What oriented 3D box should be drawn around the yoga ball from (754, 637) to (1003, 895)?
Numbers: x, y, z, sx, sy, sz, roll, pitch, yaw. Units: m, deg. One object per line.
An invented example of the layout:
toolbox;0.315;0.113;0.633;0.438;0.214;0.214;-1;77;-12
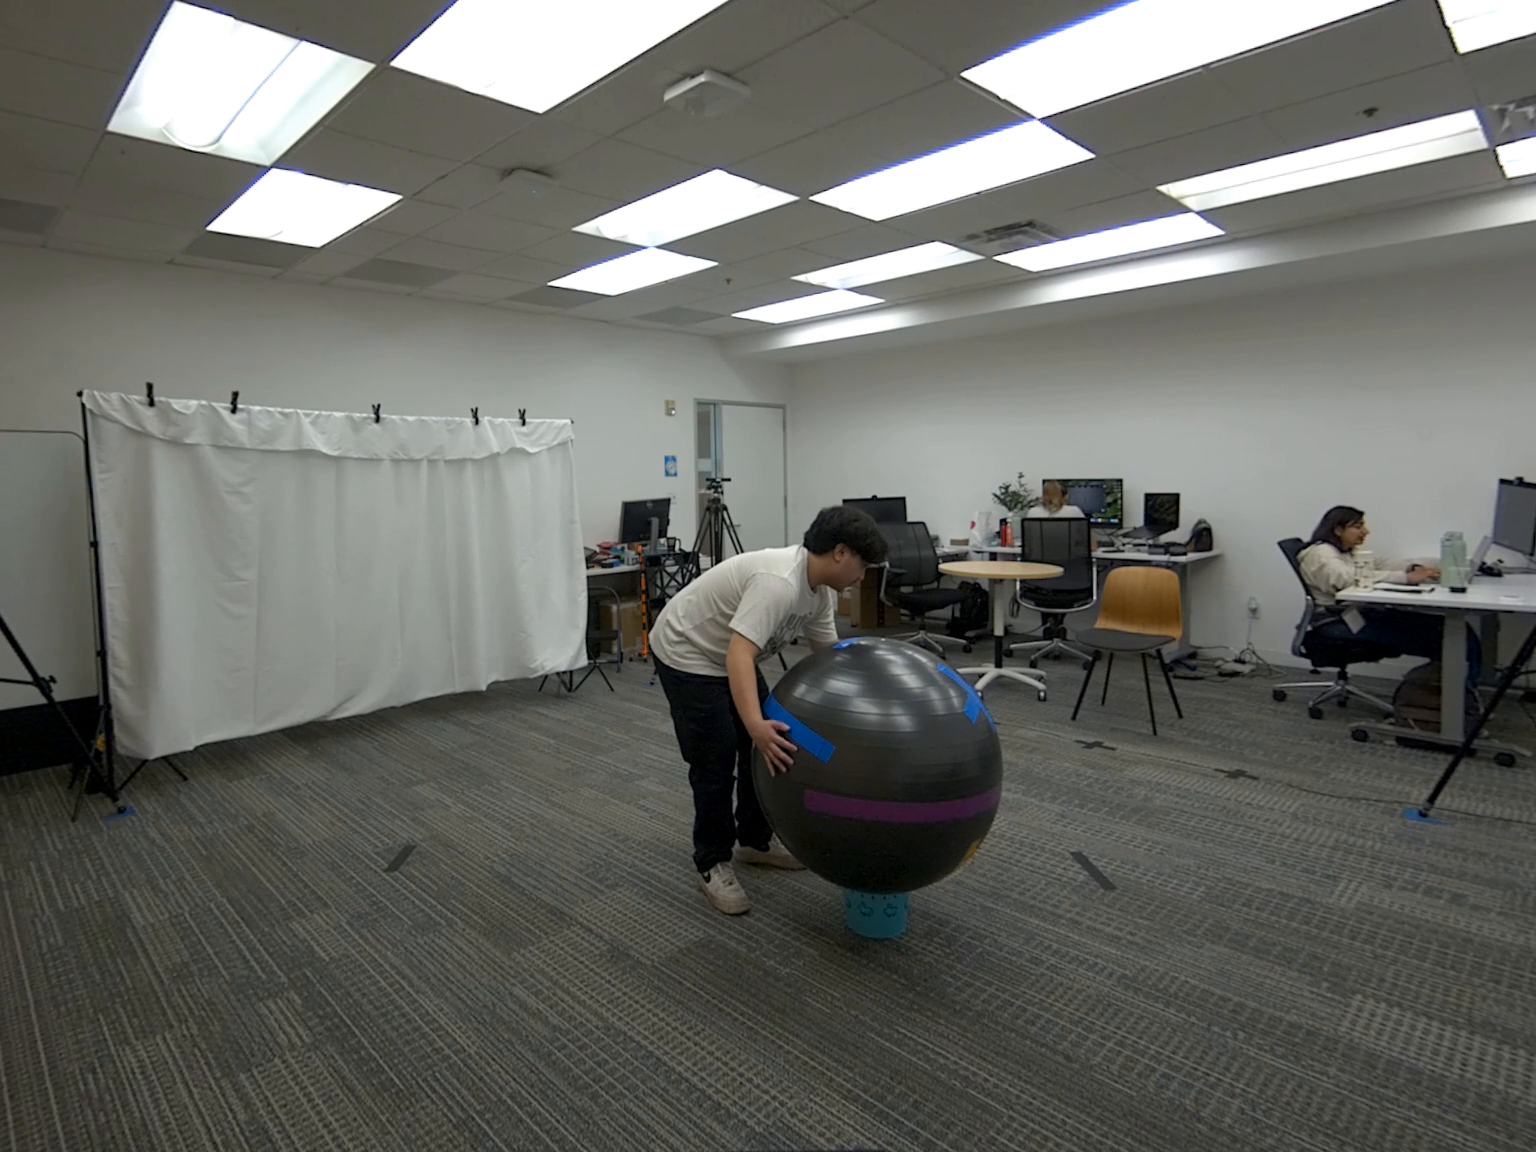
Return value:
yoga ball;0.330;0.575;2.639;0.757;0.755;0.762;-1;5;-2
